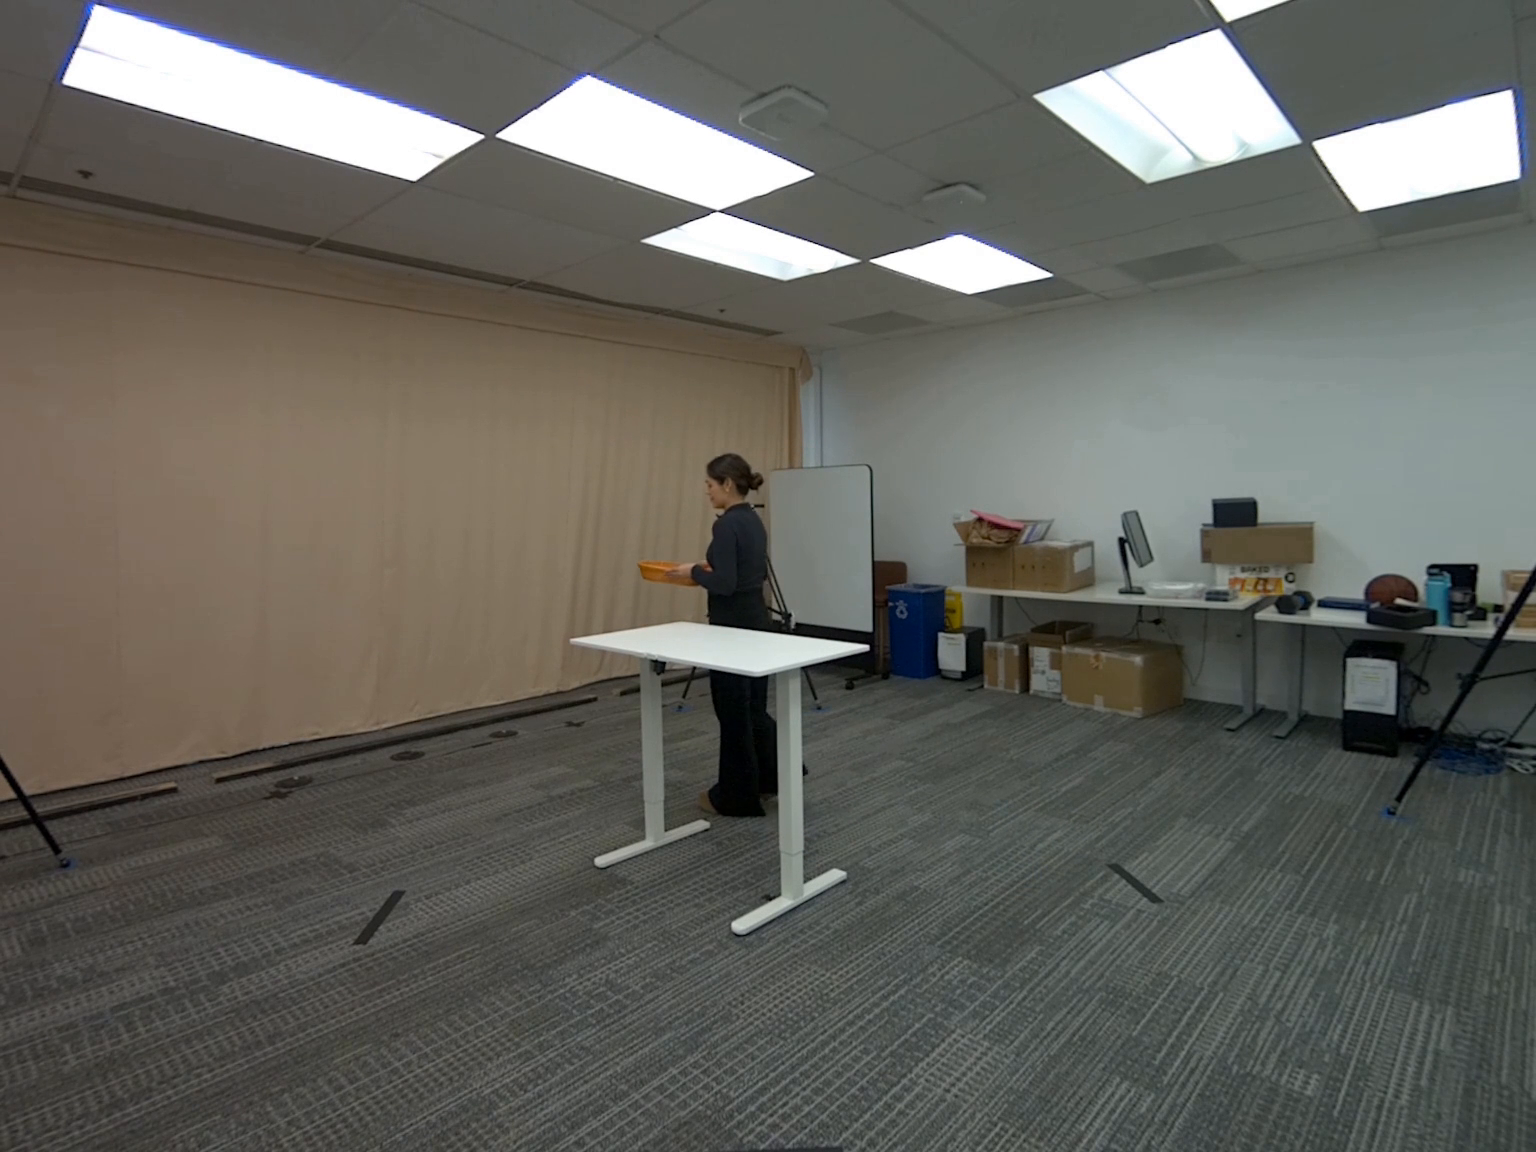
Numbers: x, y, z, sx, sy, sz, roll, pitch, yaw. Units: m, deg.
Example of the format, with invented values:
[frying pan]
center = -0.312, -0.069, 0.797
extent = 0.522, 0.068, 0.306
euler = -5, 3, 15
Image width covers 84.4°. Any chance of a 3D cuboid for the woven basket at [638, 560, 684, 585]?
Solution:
[woven basket]
center = -0.429, -0.007, 3.938
extent = 0.351, 0.073, 0.253
euler = 5, 7, 1
